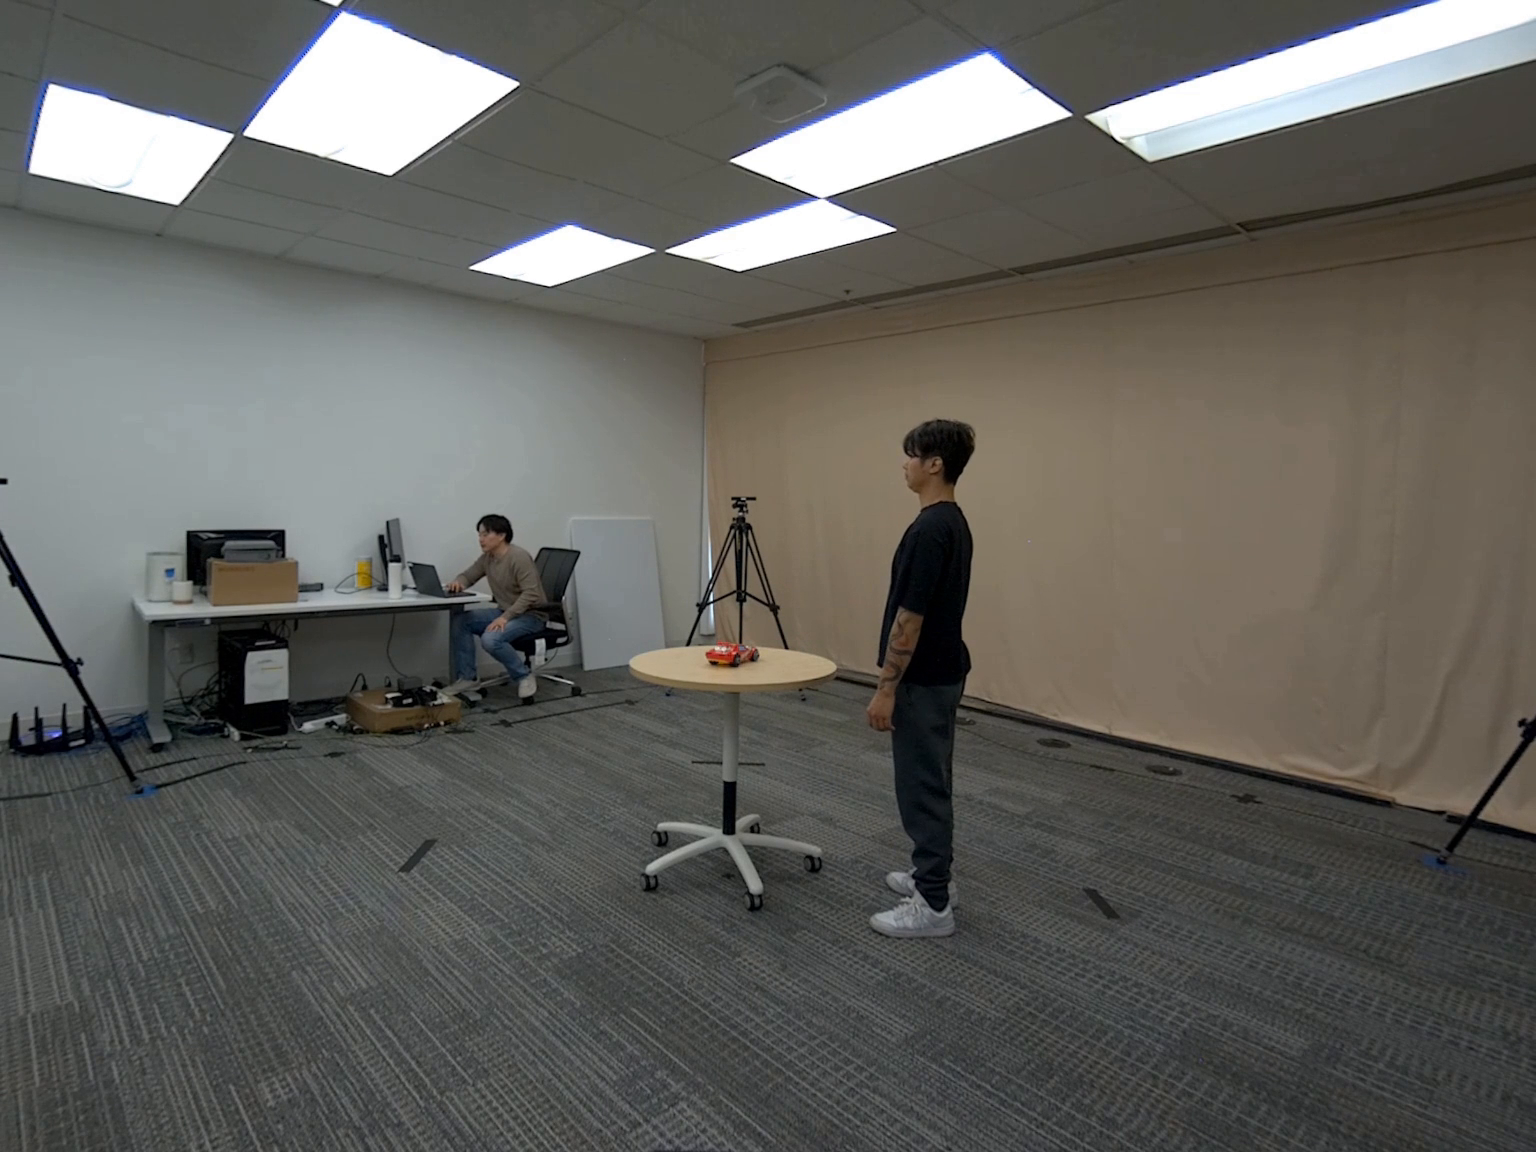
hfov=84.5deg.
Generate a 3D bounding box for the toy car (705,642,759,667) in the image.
[{"bbox_3d":[-0.145,0.292,3.110,0.133,0.083,0.248,4,-5,28],"label":"toy car"}]
